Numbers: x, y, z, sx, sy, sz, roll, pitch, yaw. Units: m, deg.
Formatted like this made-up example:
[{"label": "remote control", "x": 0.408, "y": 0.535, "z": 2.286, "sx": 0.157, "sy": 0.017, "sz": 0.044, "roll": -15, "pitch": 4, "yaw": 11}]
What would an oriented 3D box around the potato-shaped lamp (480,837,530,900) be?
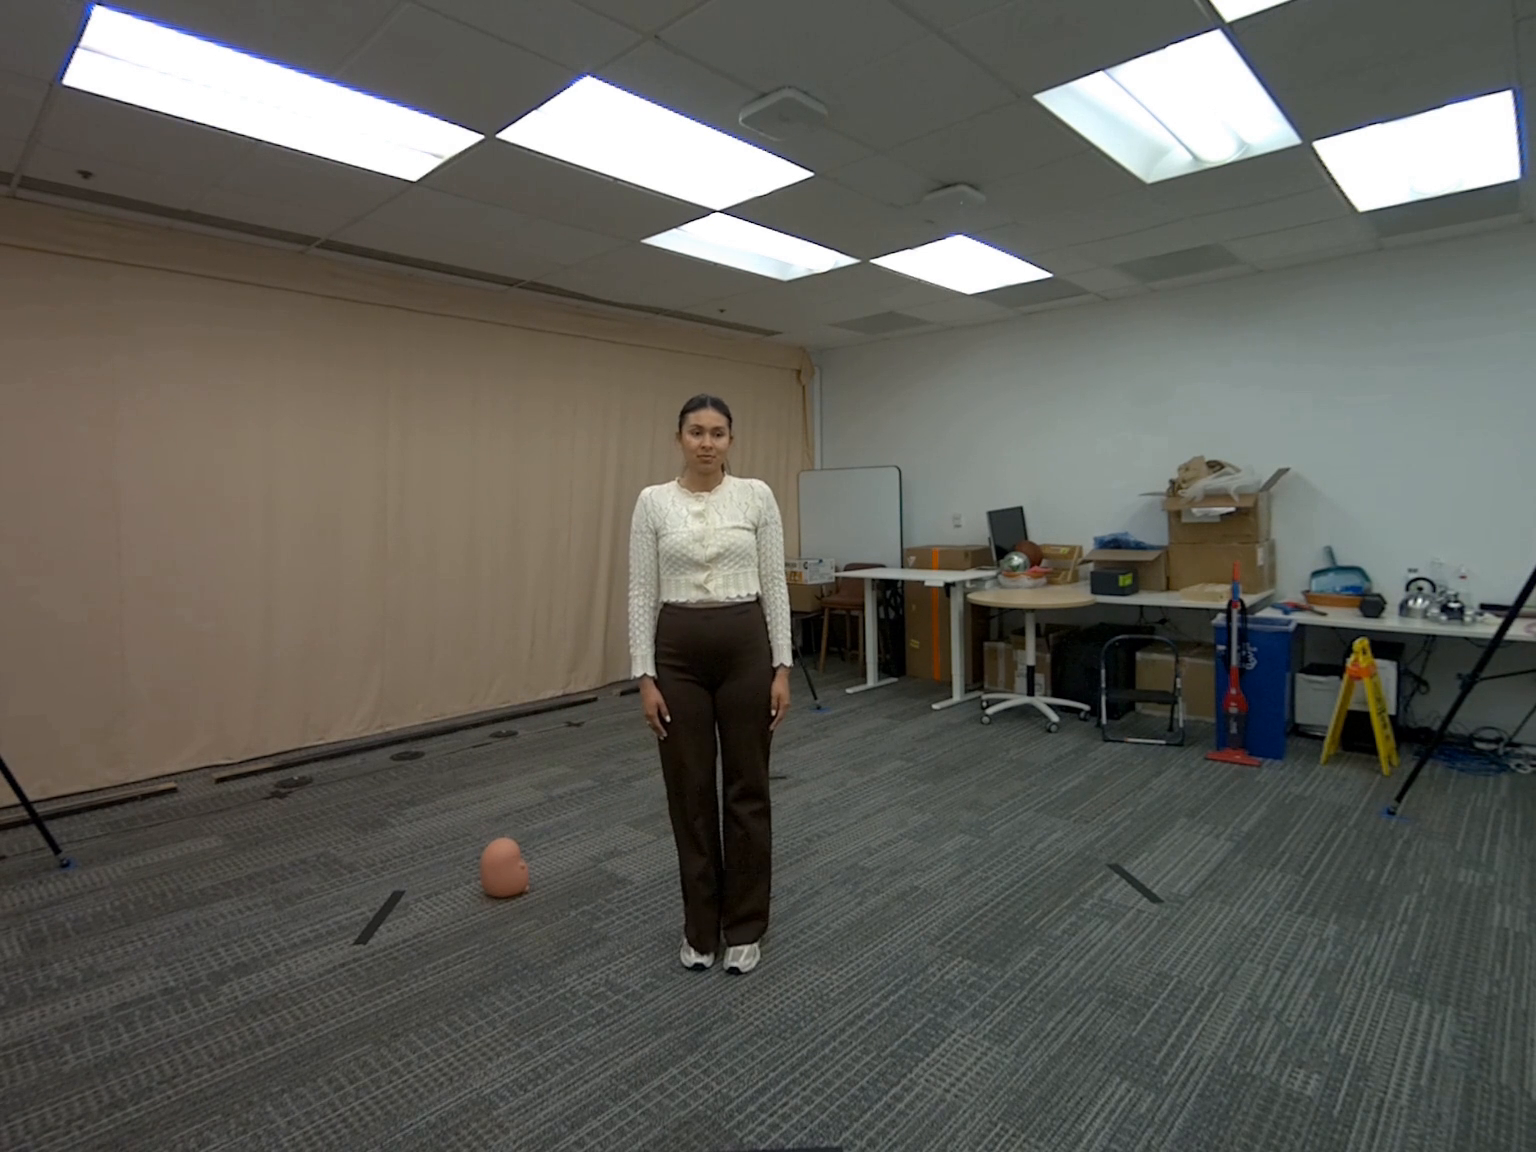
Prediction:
[{"label": "potato-shaped lamp", "x": -0.964, "y": 1.058, "z": 3.062, "sx": 0.167, "sy": 0.197, "sz": 0.169, "roll": -5, "pitch": 4, "yaw": -32}]
